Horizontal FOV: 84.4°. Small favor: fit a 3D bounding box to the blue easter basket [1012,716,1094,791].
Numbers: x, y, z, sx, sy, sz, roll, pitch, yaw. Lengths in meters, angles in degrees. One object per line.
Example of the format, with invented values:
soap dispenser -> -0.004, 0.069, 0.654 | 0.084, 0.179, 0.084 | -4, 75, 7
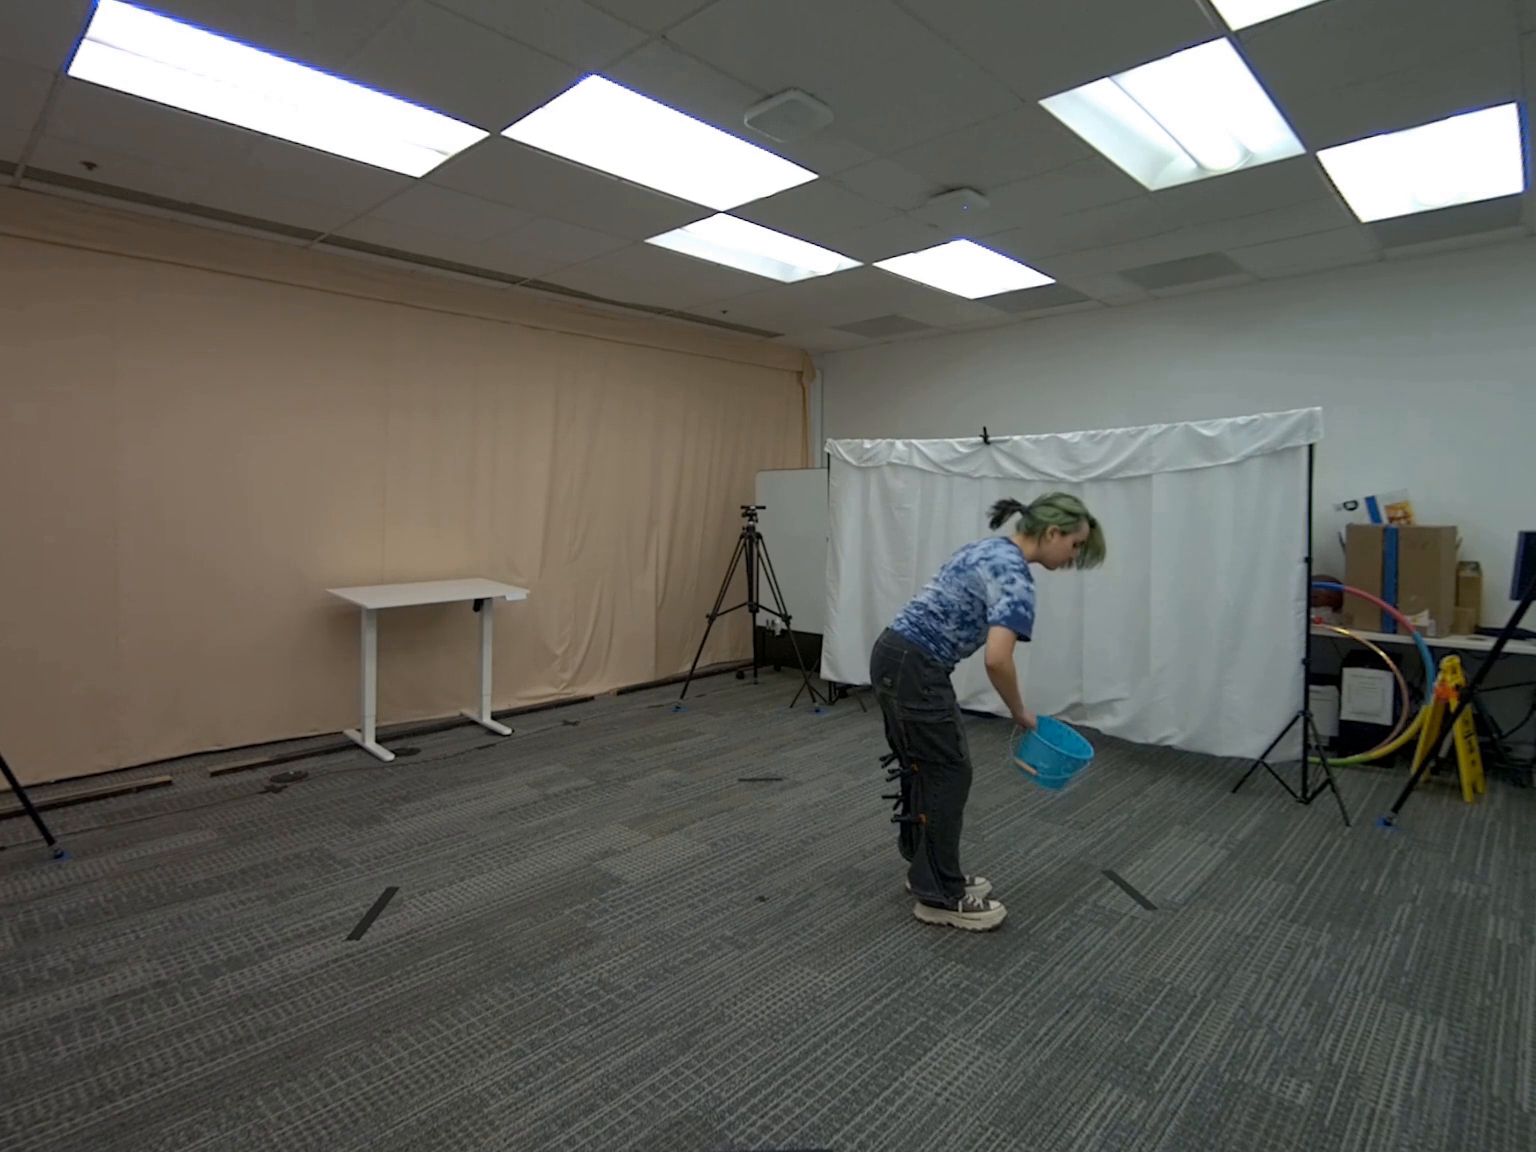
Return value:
blue easter basket -> 0.946, 0.591, 2.772 | 0.241, 0.155, 0.247 | 19, 20, -9
